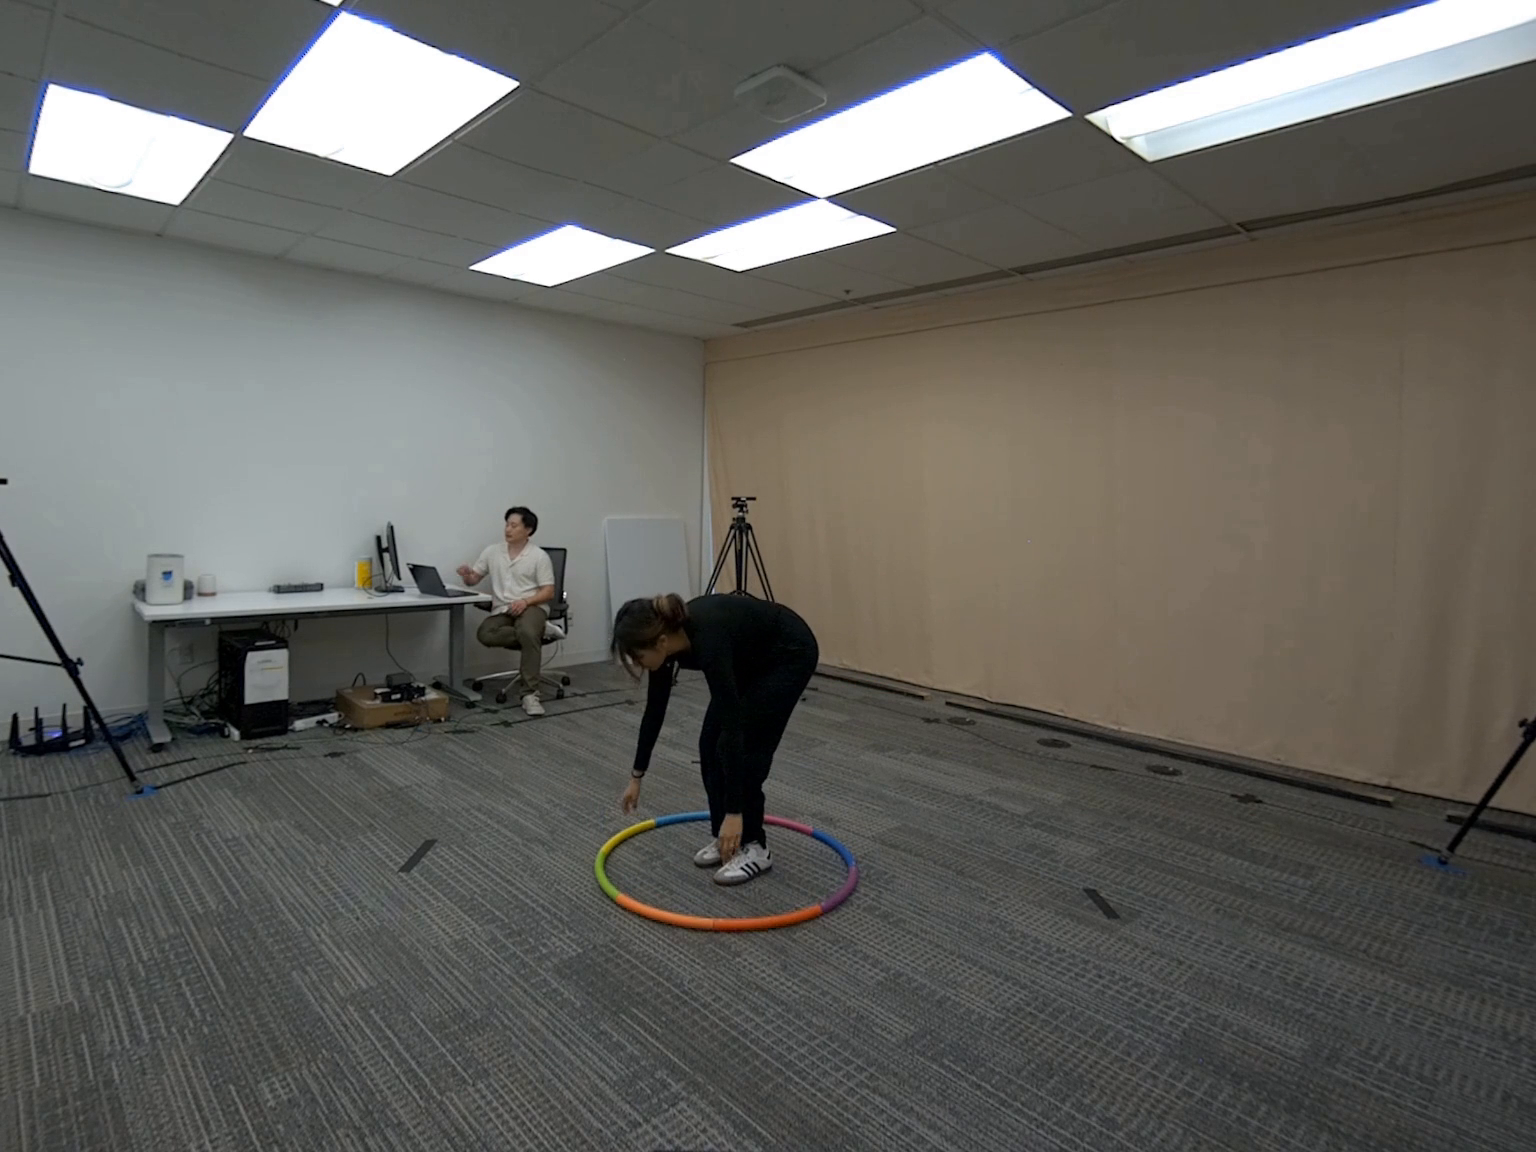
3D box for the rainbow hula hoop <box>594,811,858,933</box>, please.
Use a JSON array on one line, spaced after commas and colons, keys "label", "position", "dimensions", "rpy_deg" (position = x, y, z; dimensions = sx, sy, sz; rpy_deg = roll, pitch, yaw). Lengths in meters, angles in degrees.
[{"label": "rainbow hula hoop", "position": [-0.164, 1.064, 3.180], "dimensions": [0.978, 0.035, 0.982], "rpy_deg": [1, 4, -1]}]
